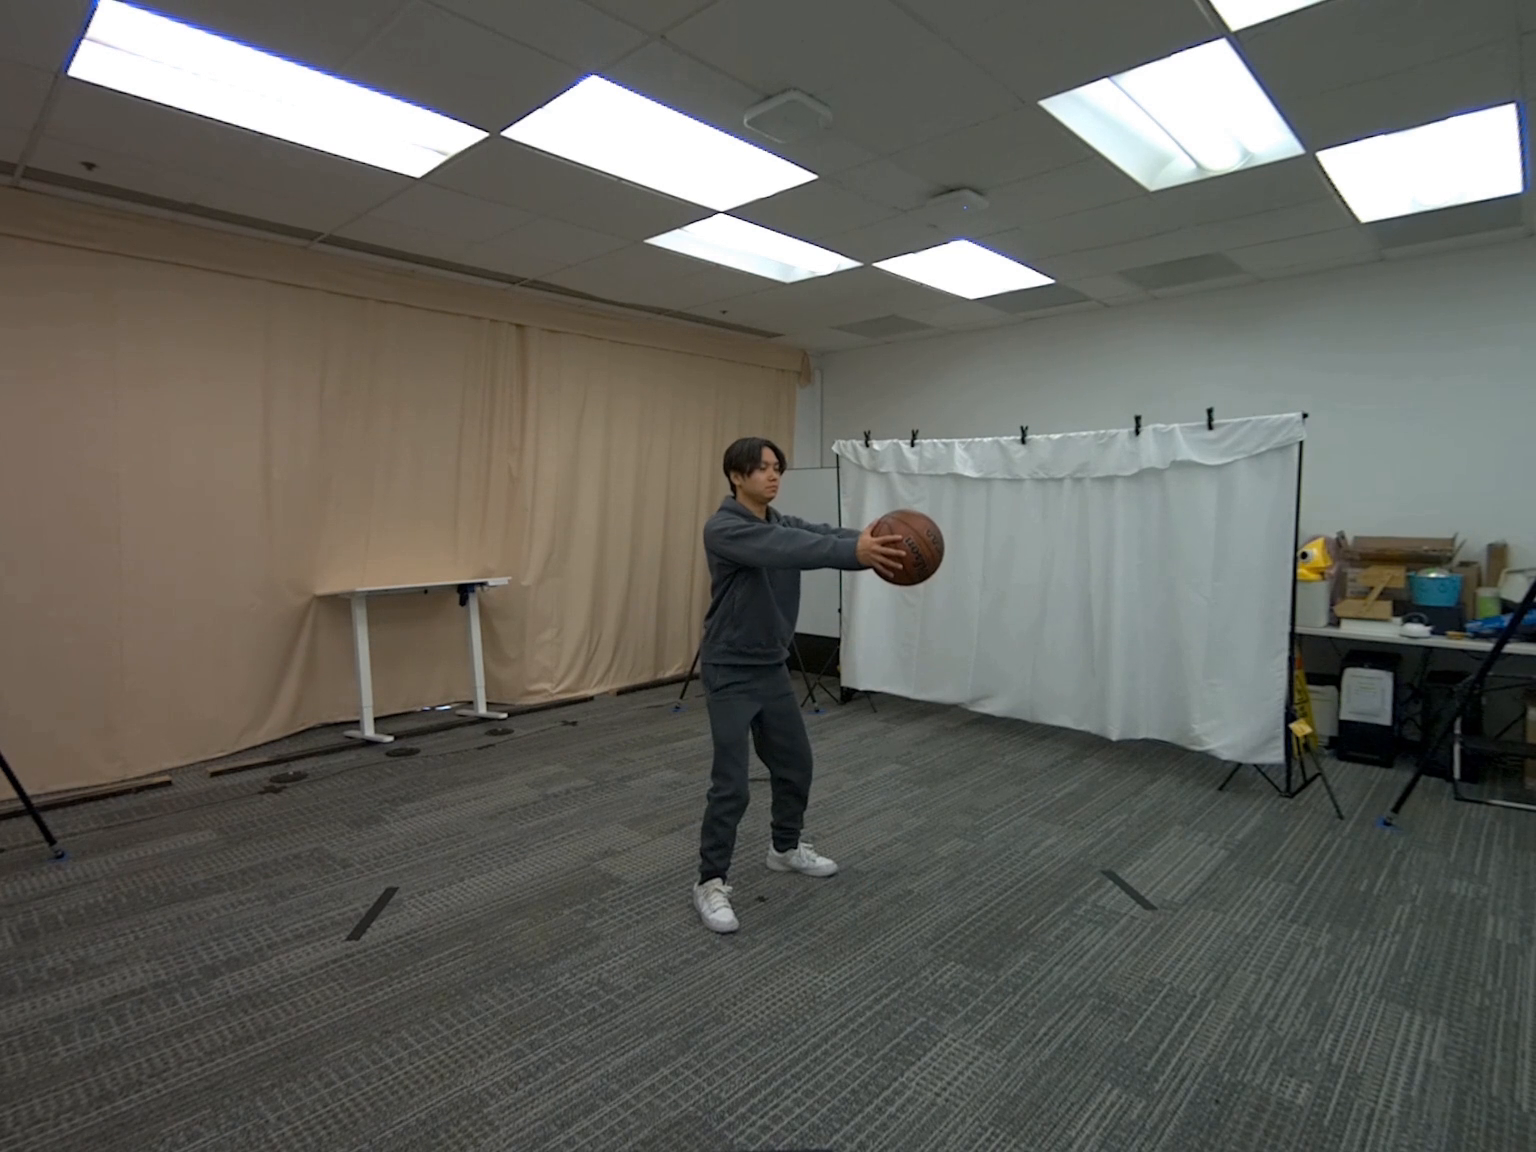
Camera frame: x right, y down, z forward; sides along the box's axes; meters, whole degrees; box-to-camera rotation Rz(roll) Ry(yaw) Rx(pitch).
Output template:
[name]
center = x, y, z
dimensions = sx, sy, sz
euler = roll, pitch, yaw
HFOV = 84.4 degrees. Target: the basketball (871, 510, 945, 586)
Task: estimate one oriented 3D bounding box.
[basketball]
center = 0.425, -0.079, 2.613
dimensions = 0.236, 0.235, 0.237
euler = 0, 4, -2
